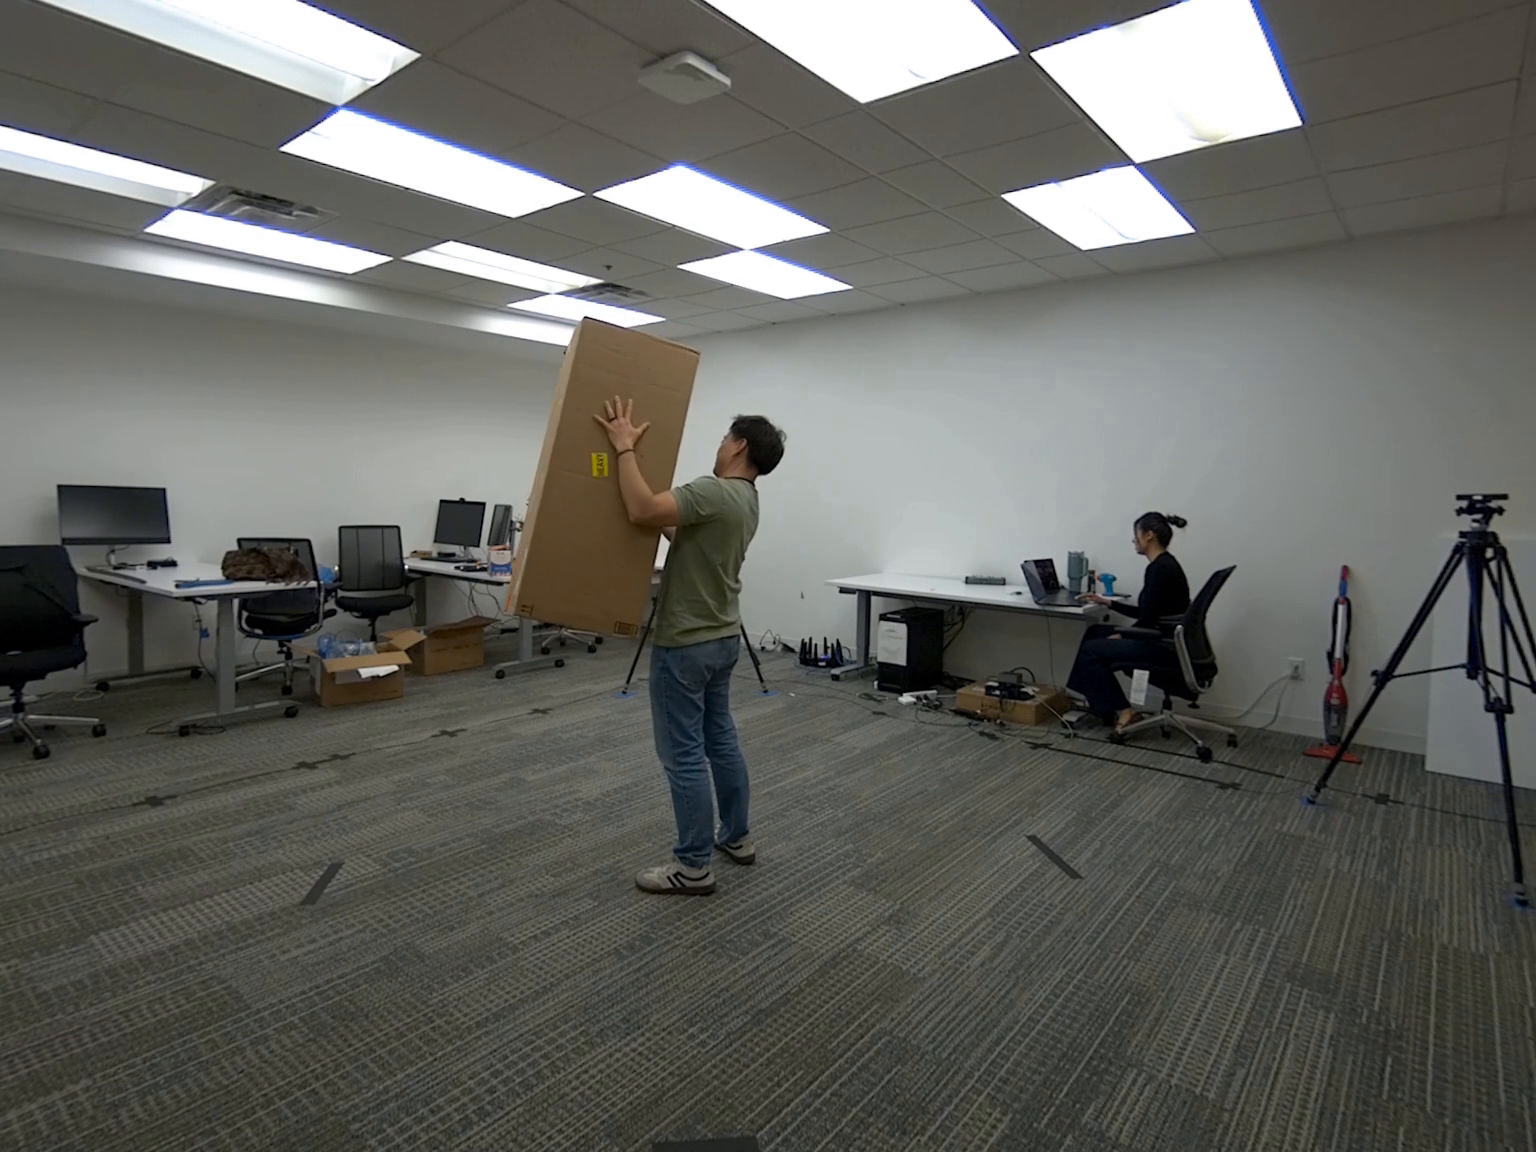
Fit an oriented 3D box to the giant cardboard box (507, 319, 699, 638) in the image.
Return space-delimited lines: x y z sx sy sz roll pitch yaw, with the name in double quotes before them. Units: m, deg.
"giant cardboard box" -0.630 -0.331 3.106 0.417 1.031 0.587 13 -6 -19
